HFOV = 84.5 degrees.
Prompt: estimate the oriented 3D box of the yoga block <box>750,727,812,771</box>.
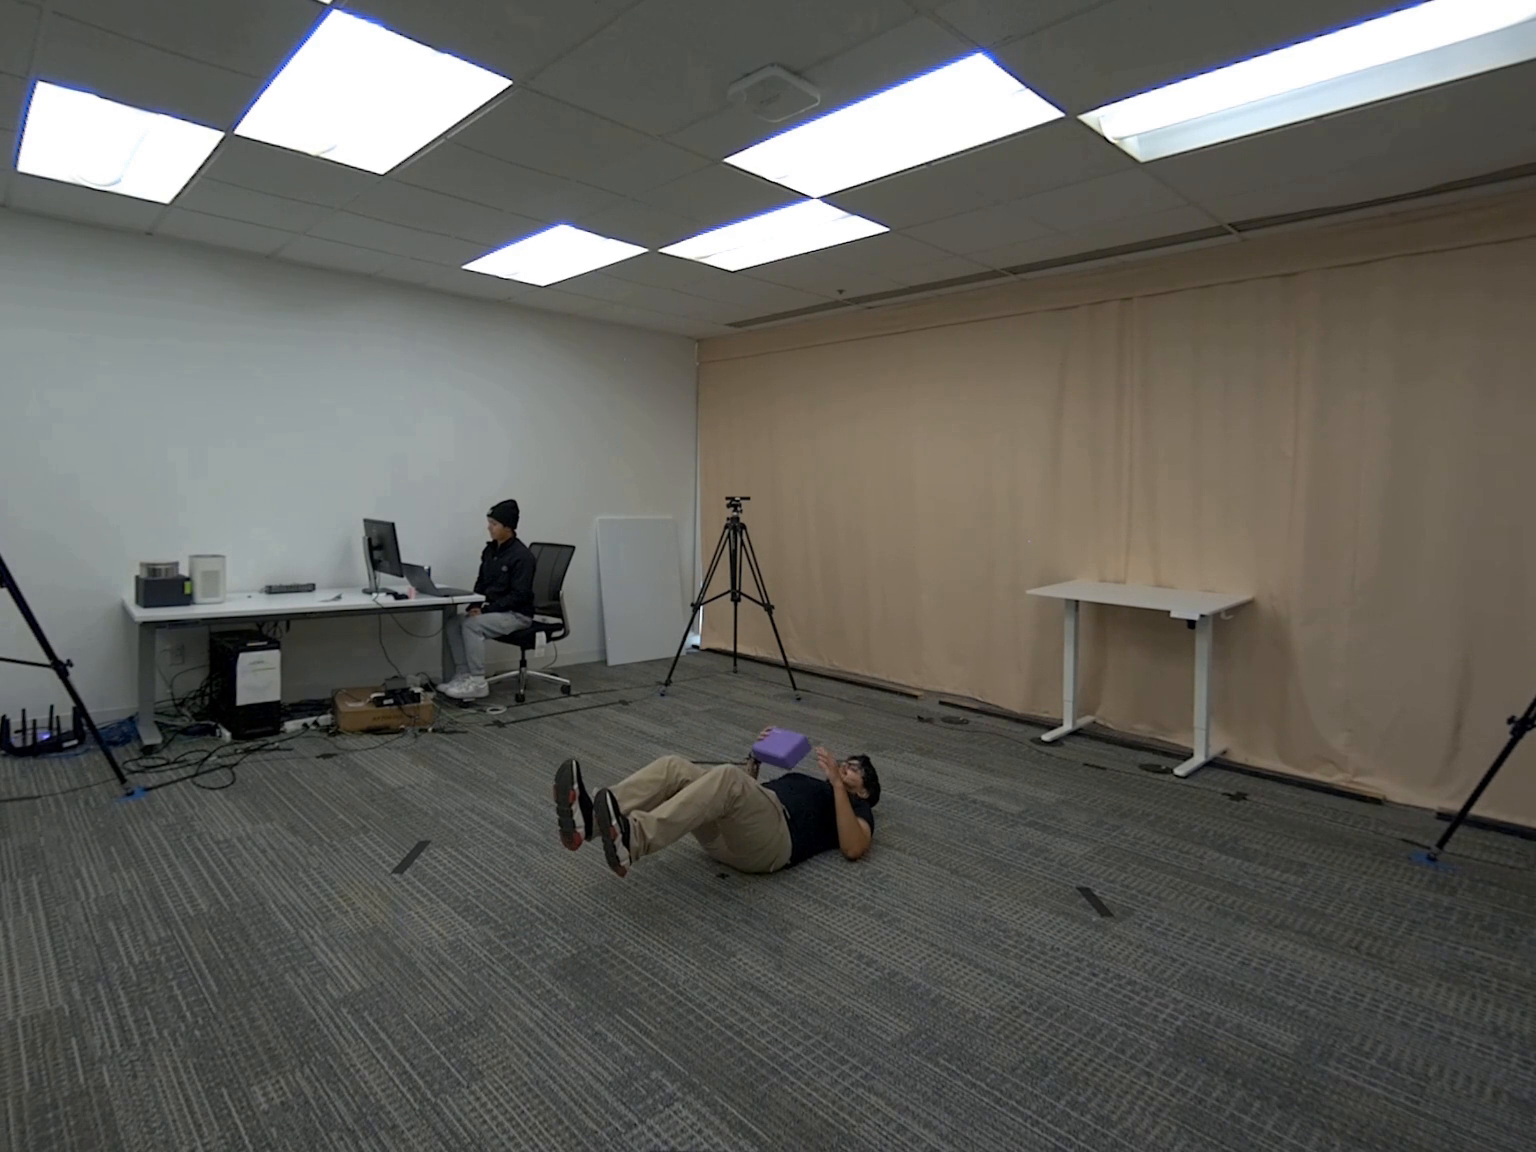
[{"bbox_3d":[0.025,0.721,3.503,0.148,0.075,0.234,-39,21,-30],"label":"yoga block"}]
